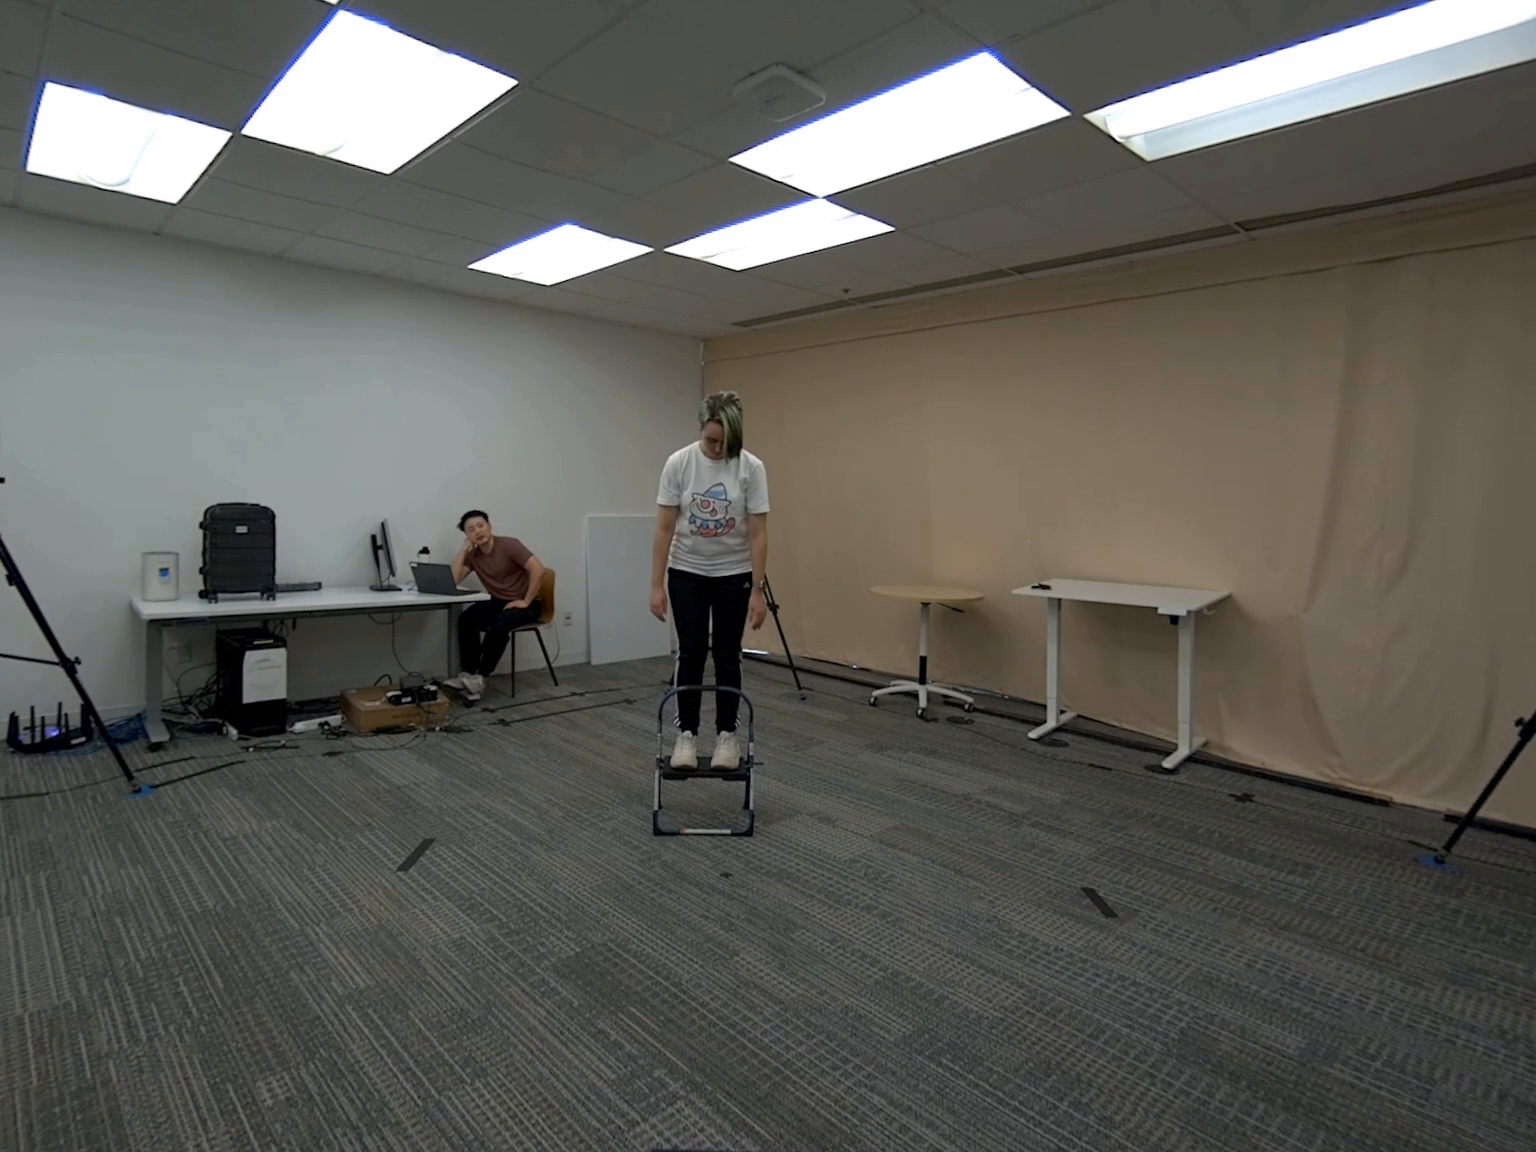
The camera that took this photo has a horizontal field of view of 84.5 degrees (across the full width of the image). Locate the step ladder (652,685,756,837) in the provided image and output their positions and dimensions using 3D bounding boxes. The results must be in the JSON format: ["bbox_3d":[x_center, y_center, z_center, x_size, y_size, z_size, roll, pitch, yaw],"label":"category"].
[{"bbox_3d":[-0.281,0.758,3.614,0.429,0.605,0.351,2,2,-4],"label":"step ladder"}]
